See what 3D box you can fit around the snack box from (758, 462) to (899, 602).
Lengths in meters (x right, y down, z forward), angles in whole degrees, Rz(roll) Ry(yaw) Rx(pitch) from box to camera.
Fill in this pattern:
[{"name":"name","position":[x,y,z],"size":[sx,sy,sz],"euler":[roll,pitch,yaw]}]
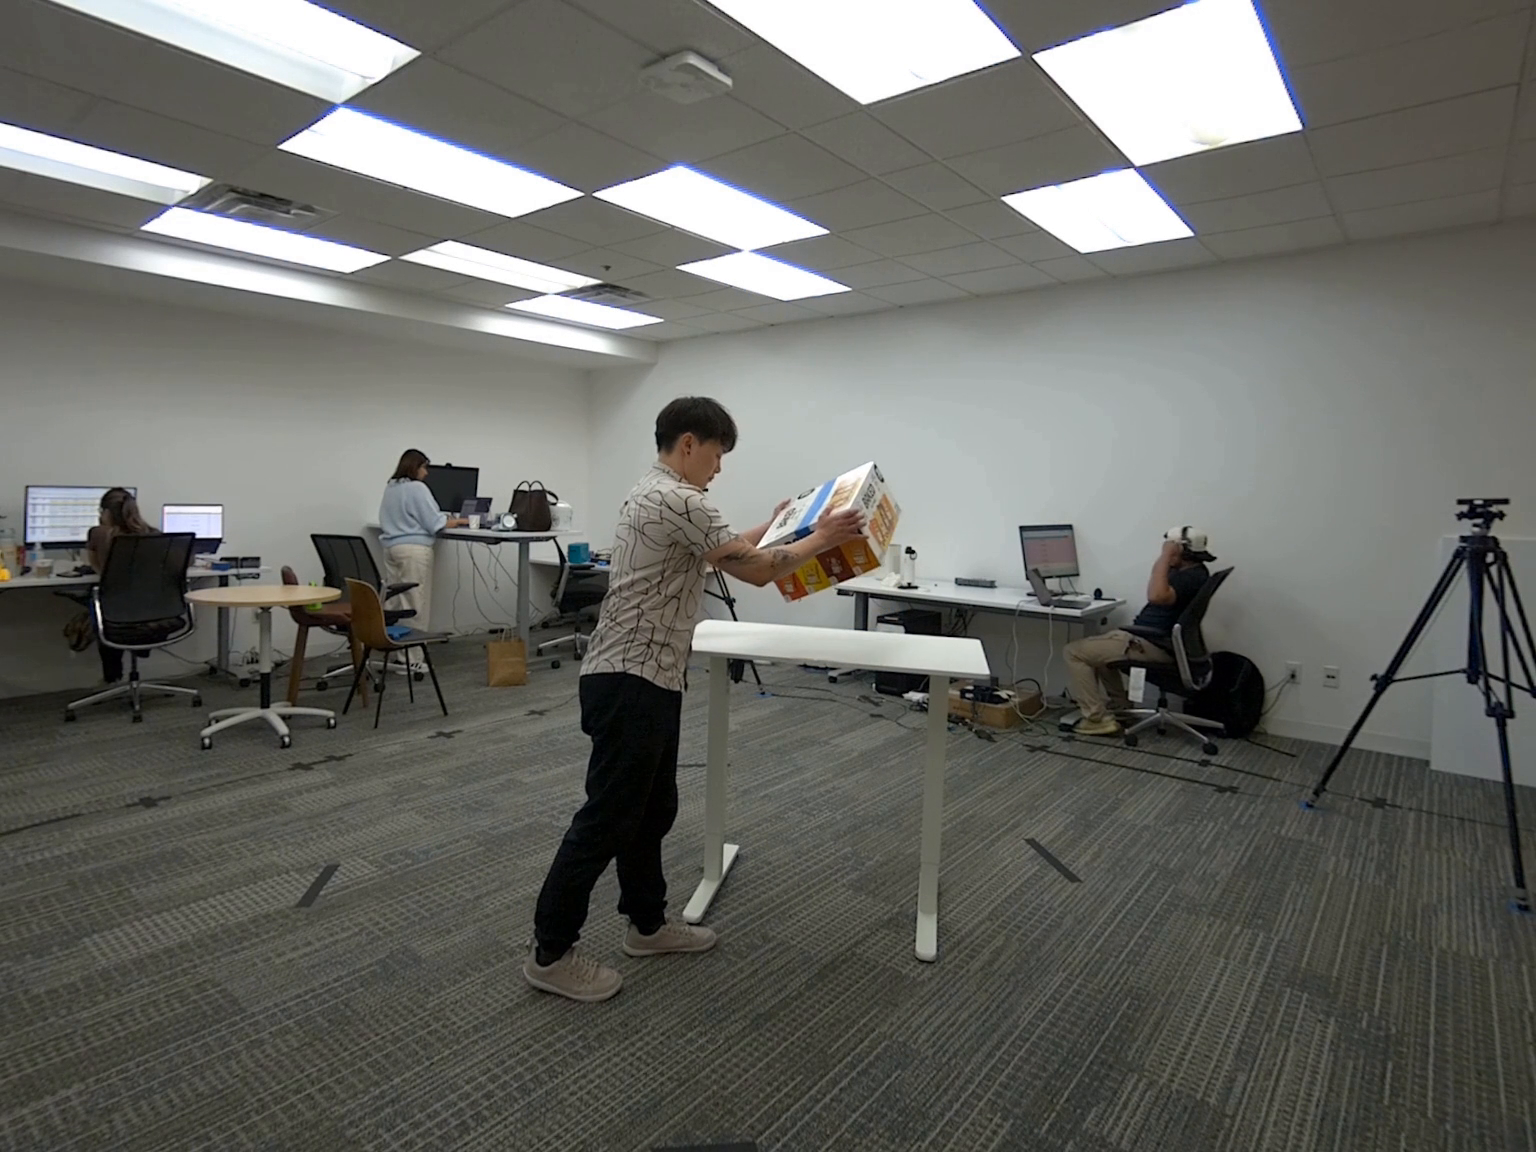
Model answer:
[{"name":"snack box","position":[0.195,-0.145,2.716],"size":[0.345,0.202,0.407],"euler":[-23,17,28]}]
